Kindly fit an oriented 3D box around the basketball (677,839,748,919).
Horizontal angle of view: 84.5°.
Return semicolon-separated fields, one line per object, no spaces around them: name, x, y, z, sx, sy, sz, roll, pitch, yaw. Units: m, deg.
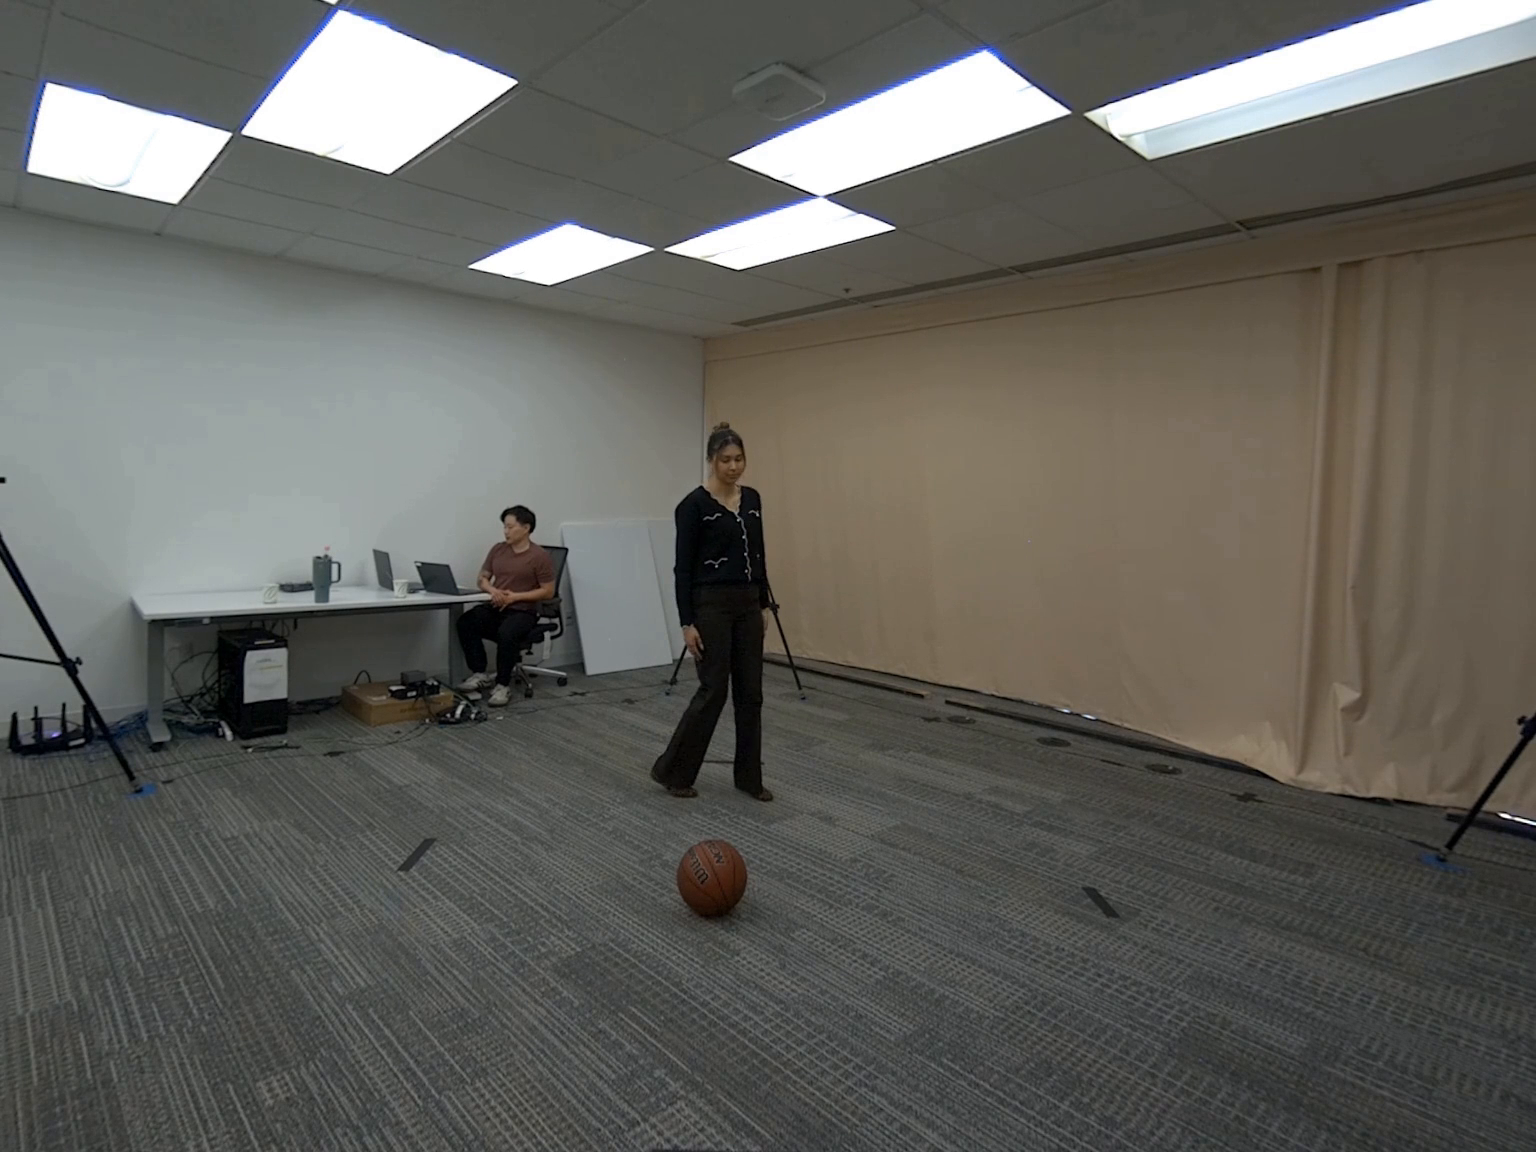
basketball;-0.197;1.012;2.820;0.236;0.235;0.237;1;4;-1
